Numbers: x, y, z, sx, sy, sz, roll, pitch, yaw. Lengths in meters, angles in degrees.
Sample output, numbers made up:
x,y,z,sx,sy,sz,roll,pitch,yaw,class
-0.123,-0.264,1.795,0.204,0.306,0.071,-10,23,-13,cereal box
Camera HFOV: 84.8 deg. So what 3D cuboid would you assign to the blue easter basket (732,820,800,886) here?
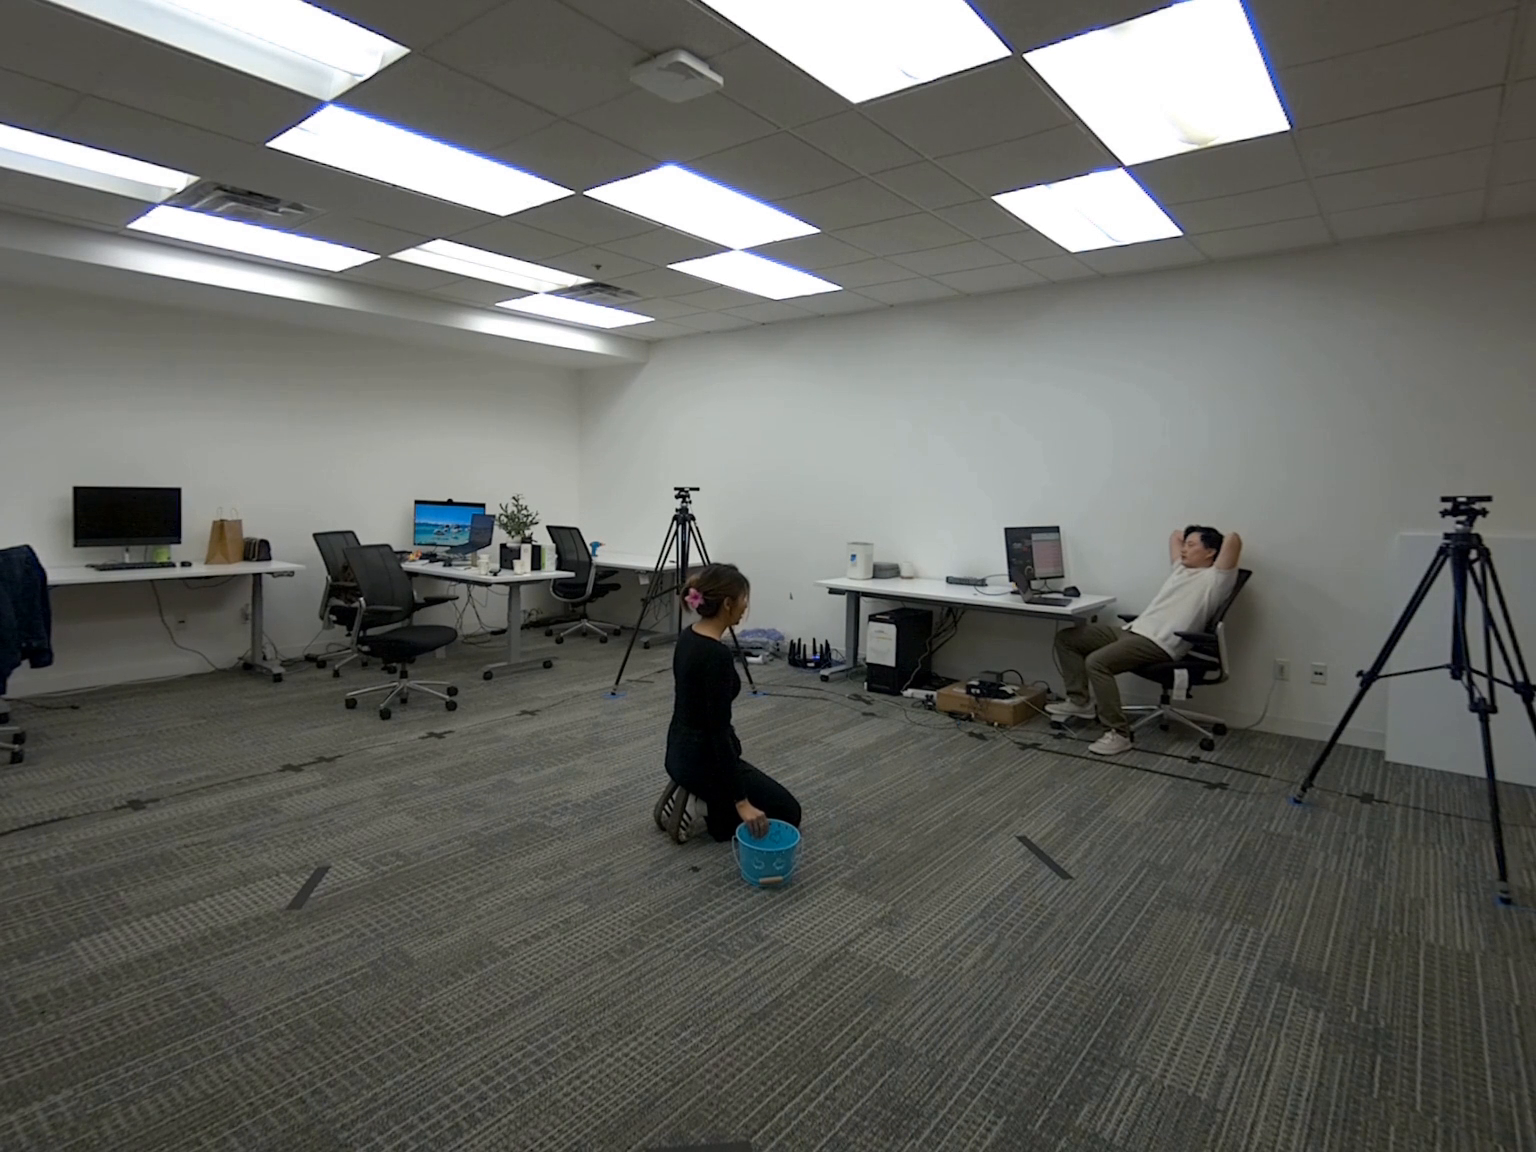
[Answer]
x,y,z,sx,sy,sz,roll,pitch,yaw,class
-0.018,0.993,3.049,0.243,0.155,0.246,1,9,-2,blue easter basket
